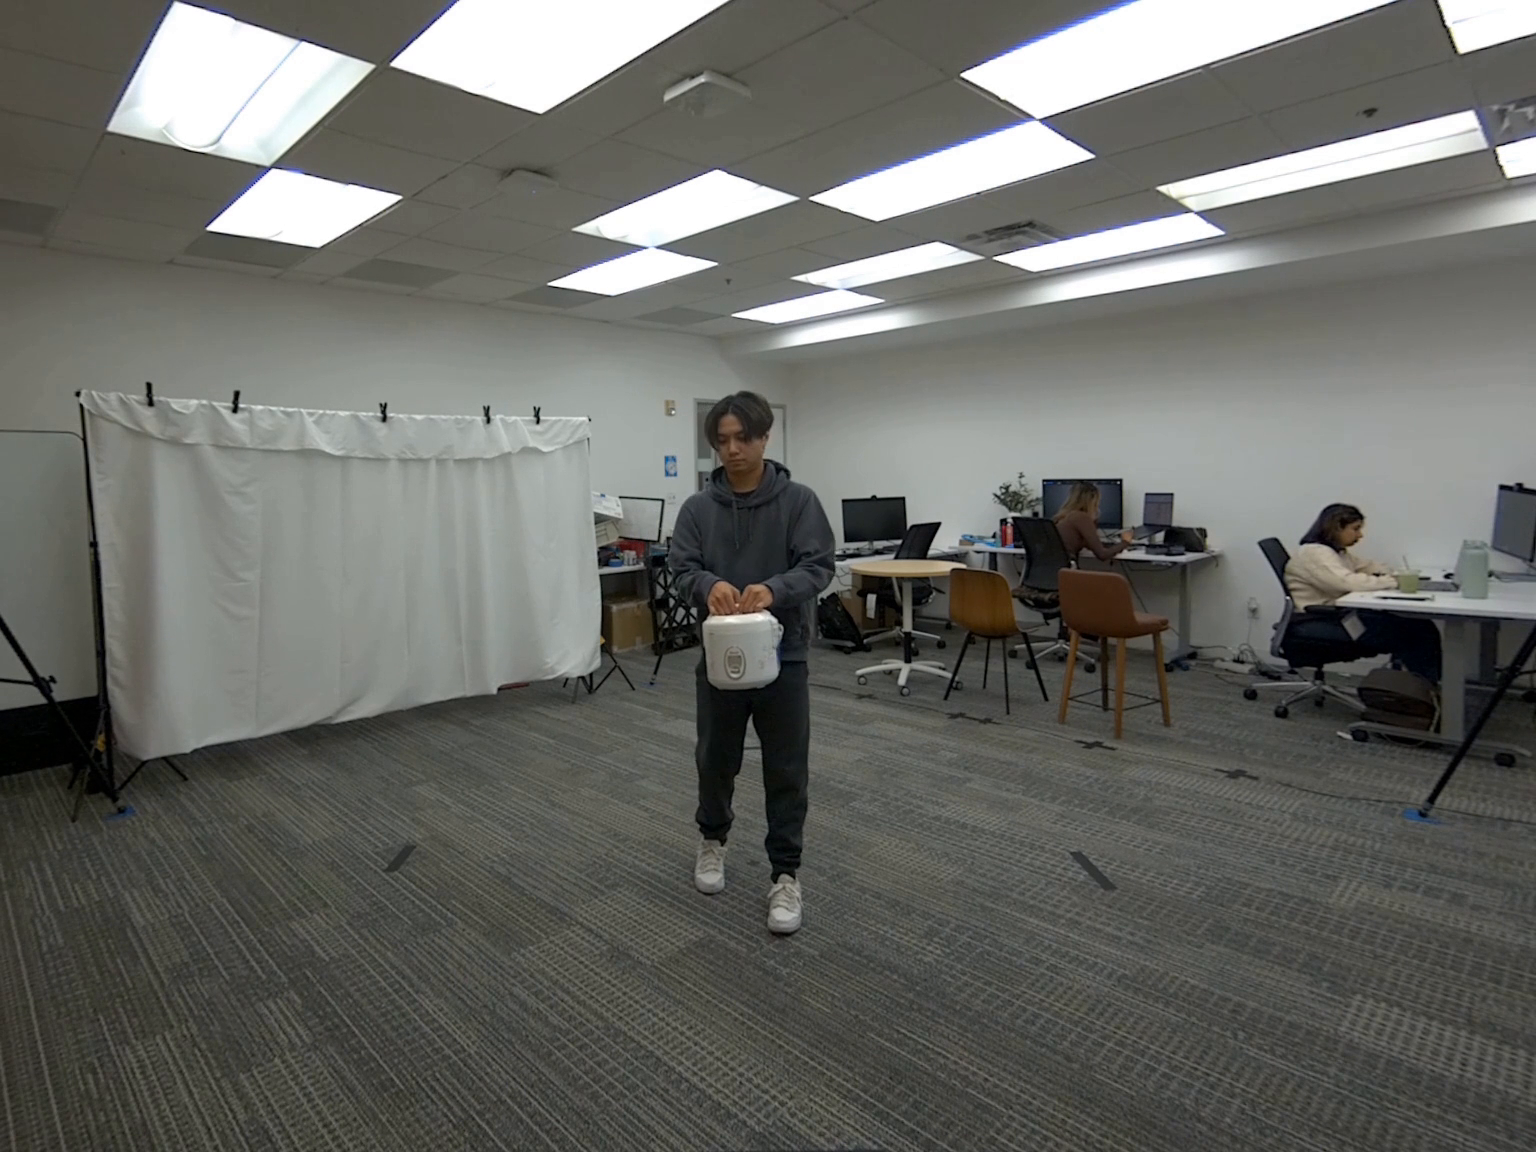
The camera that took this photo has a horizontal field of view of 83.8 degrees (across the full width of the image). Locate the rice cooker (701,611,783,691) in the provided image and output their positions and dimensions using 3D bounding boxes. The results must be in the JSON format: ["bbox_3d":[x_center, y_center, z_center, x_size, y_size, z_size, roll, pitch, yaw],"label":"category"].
[{"bbox_3d":[-0.082,0.201,2.456,0.223,0.233,0.215,-4,0,11],"label":"rice cooker"}]
